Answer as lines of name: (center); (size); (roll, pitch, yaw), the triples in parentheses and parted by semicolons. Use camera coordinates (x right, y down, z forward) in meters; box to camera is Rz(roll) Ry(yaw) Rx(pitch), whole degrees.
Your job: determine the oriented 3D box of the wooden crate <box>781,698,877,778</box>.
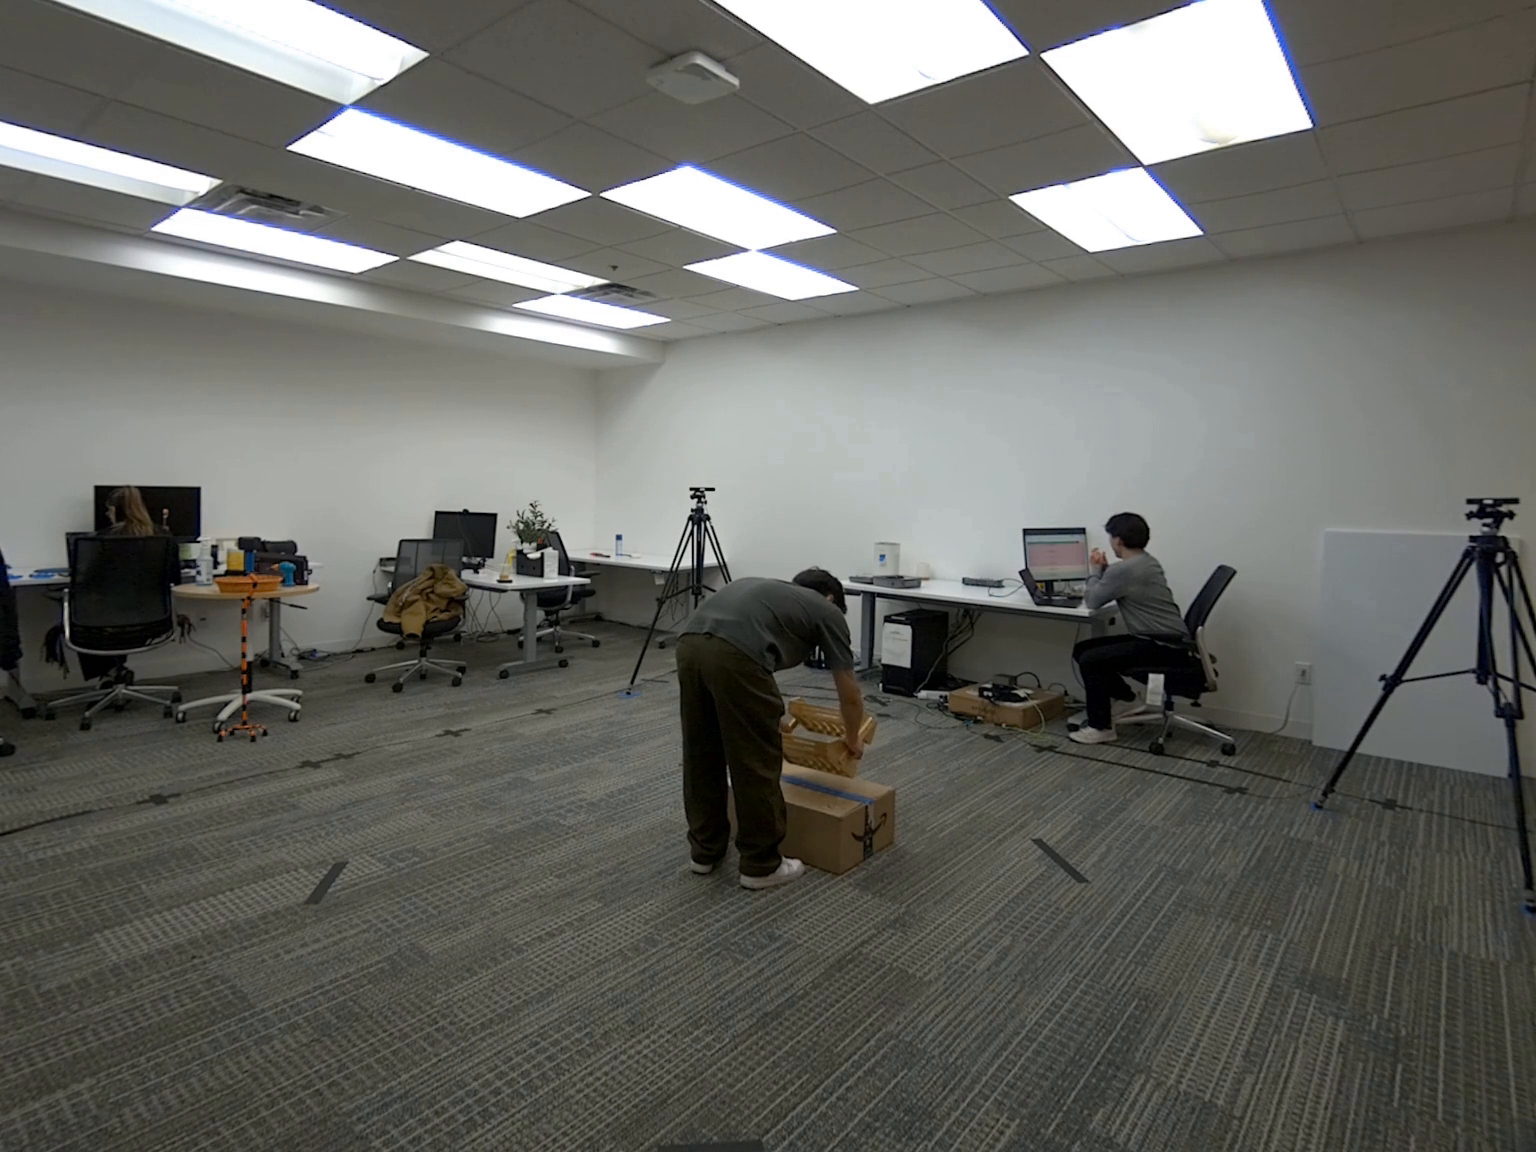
wooden crate: (0.210, 0.614, 3.427); (0.335, 0.276, 0.289); (3, -31, 38)
